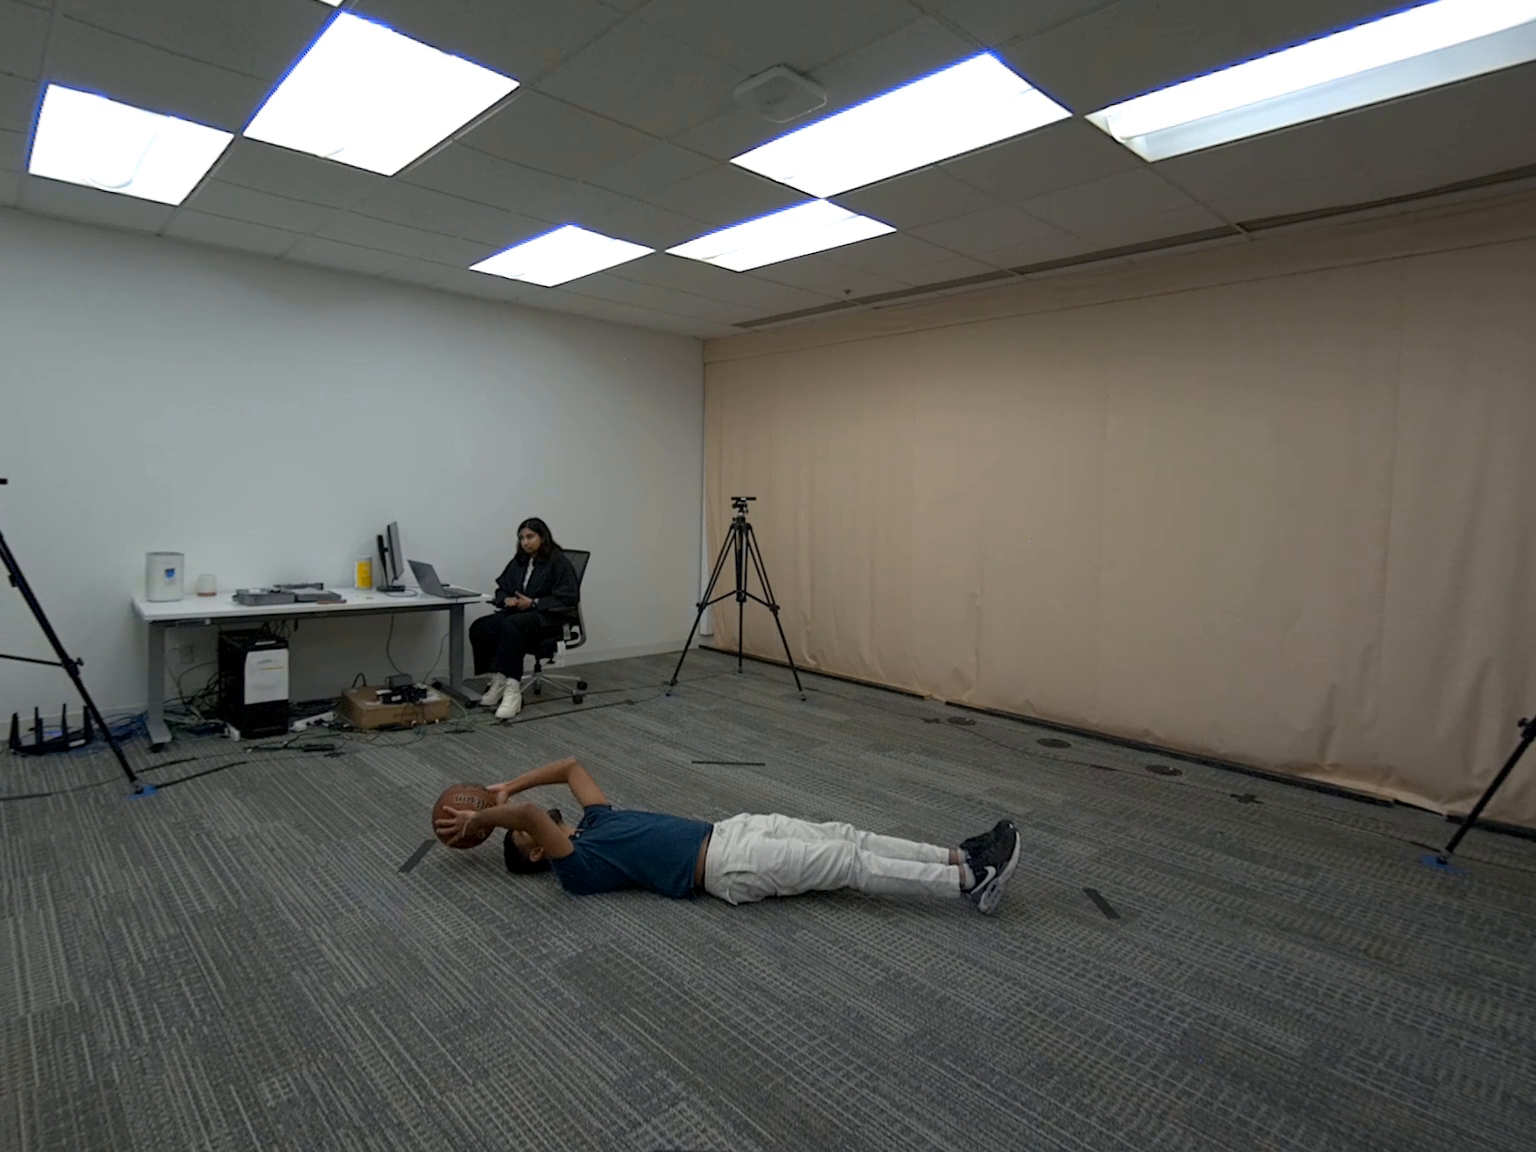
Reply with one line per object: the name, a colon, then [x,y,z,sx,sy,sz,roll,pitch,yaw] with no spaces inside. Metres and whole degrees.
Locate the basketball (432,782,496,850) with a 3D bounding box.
basketball: [-1.142,0.893,3.154,0.236,0.235,0.237,1,4,-1]
